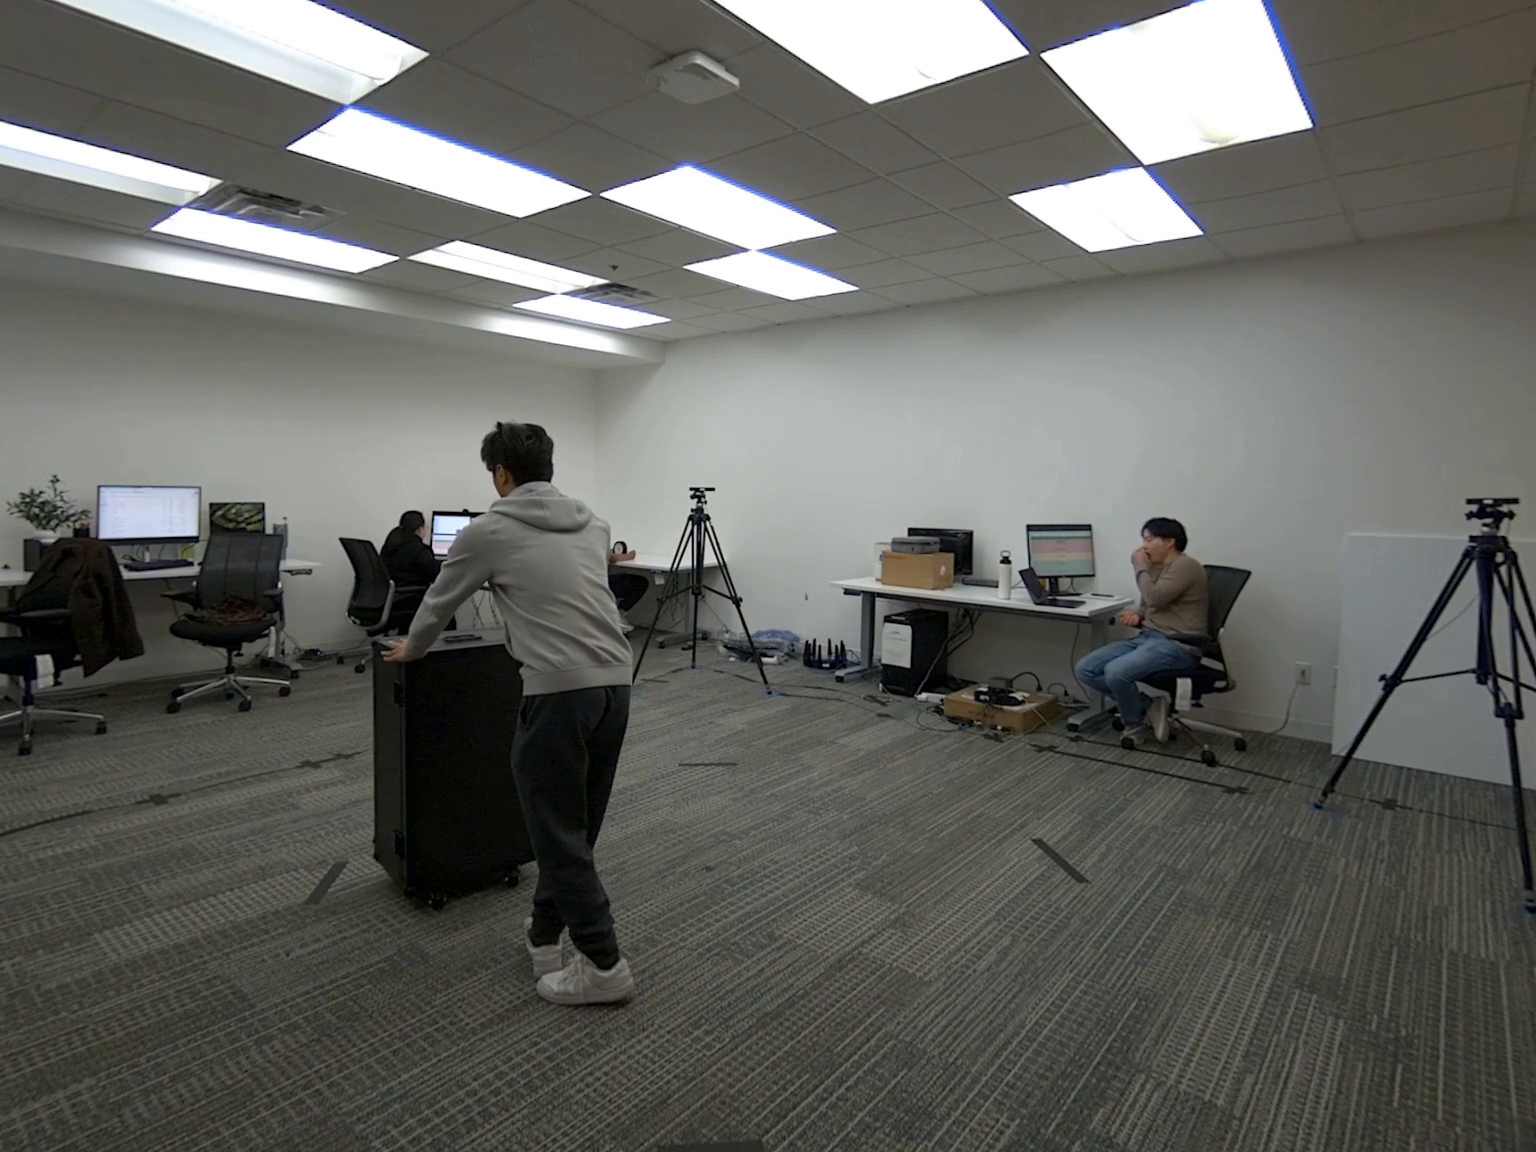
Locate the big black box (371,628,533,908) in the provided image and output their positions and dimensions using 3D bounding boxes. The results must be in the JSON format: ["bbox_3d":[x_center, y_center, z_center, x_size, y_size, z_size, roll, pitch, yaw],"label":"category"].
[{"bbox_3d":[-1.111,0.643,2.982,0.506,0.860,0.409,-2,3,-40],"label":"big black box"}]
